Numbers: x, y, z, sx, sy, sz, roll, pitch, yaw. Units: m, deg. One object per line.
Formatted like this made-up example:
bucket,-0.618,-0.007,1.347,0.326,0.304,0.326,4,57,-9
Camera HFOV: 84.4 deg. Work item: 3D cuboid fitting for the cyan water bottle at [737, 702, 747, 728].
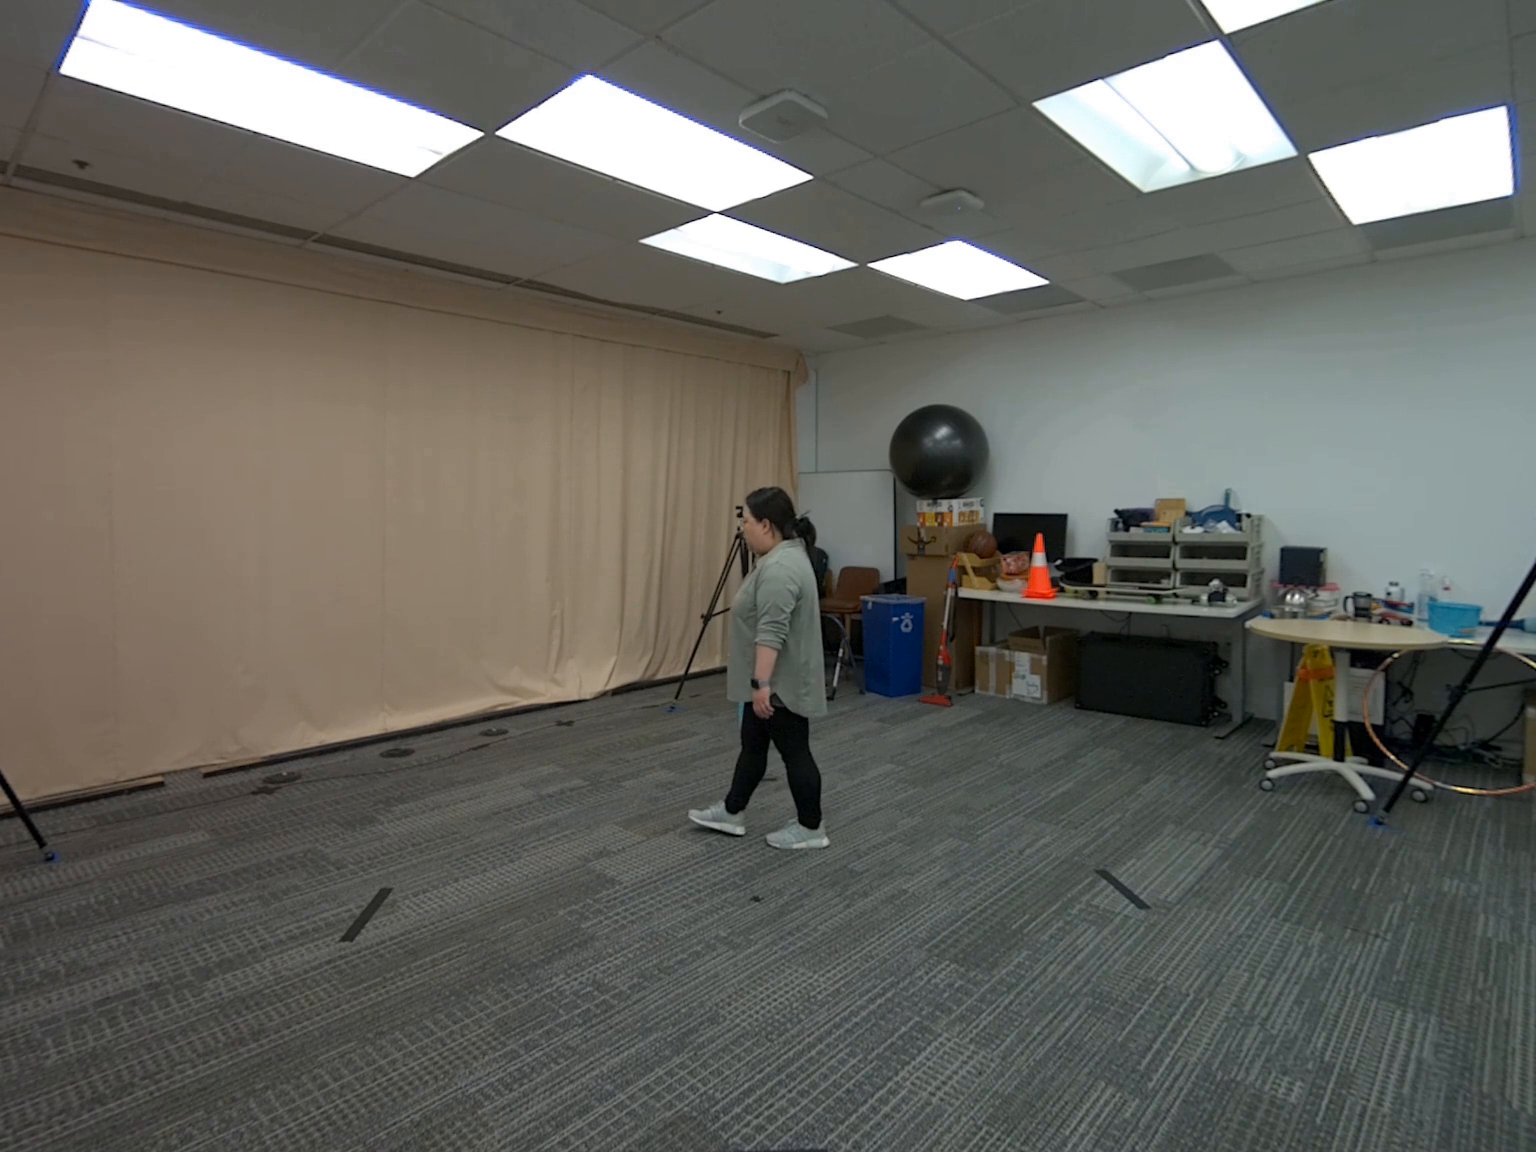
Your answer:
cyan water bottle,-0.079,0.530,3.757,0.092,0.284,0.092,-1,-2,-2
